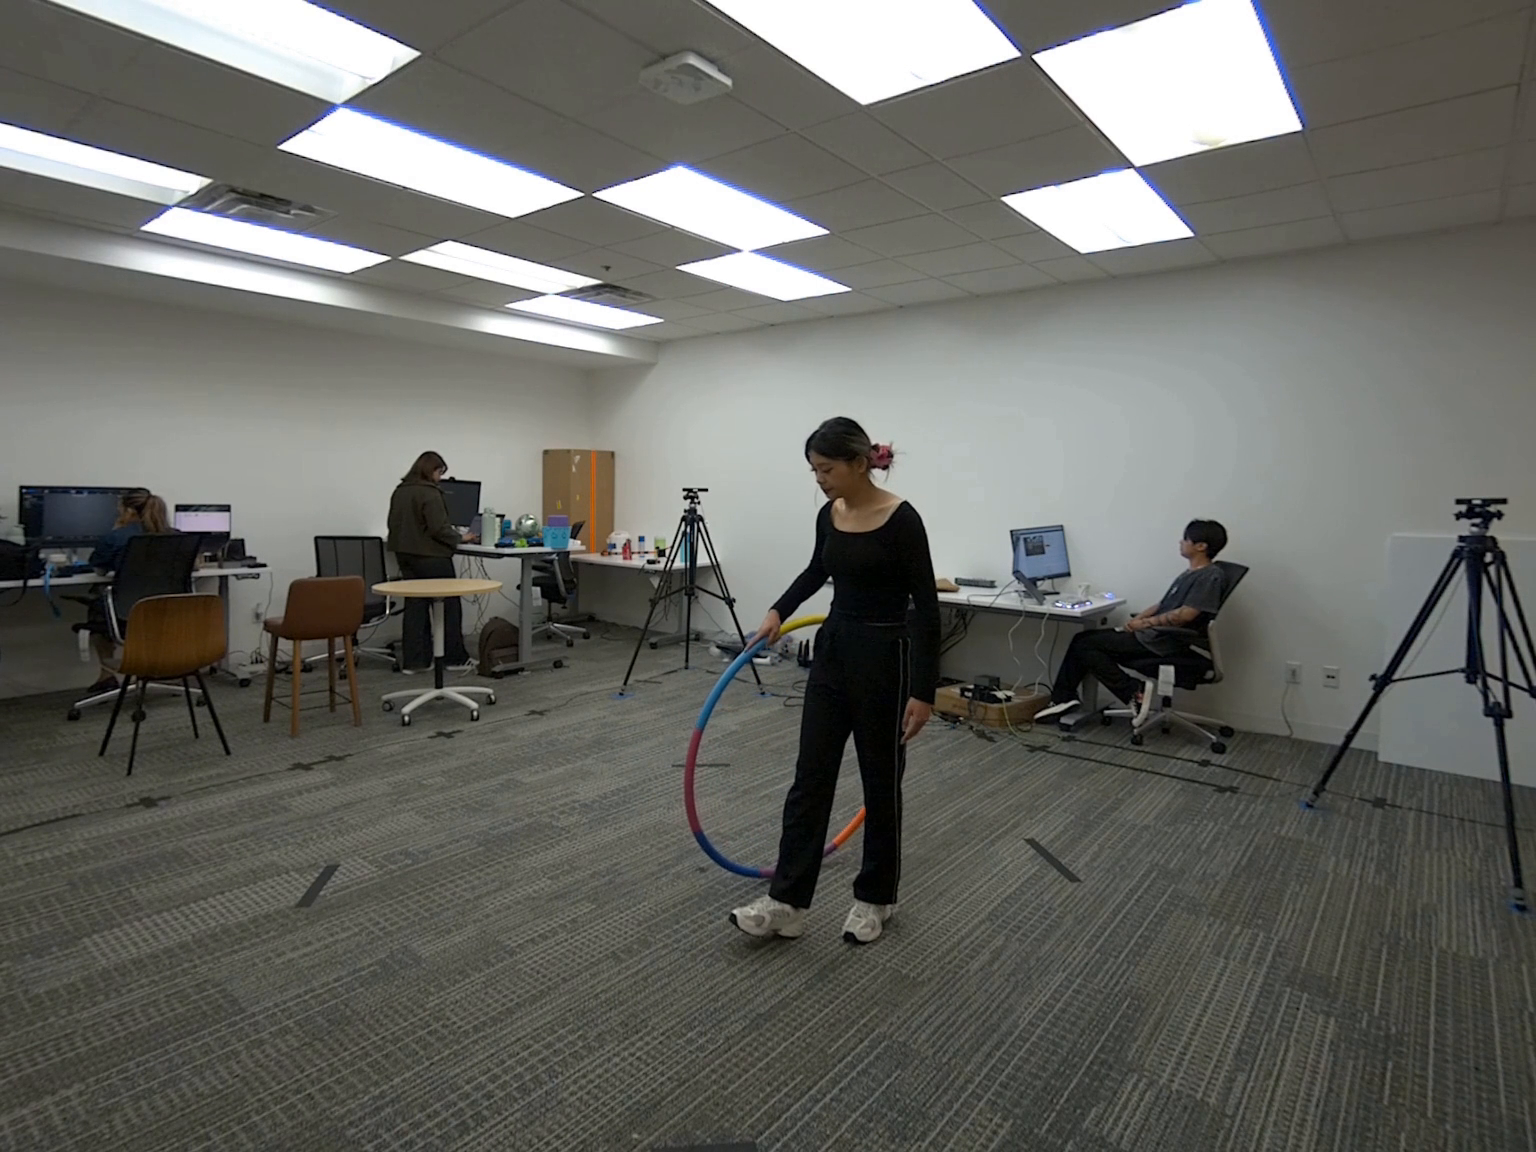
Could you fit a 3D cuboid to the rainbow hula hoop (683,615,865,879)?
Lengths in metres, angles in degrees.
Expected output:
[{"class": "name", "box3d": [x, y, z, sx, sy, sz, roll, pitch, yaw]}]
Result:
[{"class": "rainbow hula hoop", "box3d": [0.113, 0.605, 3.010, 0.950, 0.970, 0.037, -2, 12, -35]}]
